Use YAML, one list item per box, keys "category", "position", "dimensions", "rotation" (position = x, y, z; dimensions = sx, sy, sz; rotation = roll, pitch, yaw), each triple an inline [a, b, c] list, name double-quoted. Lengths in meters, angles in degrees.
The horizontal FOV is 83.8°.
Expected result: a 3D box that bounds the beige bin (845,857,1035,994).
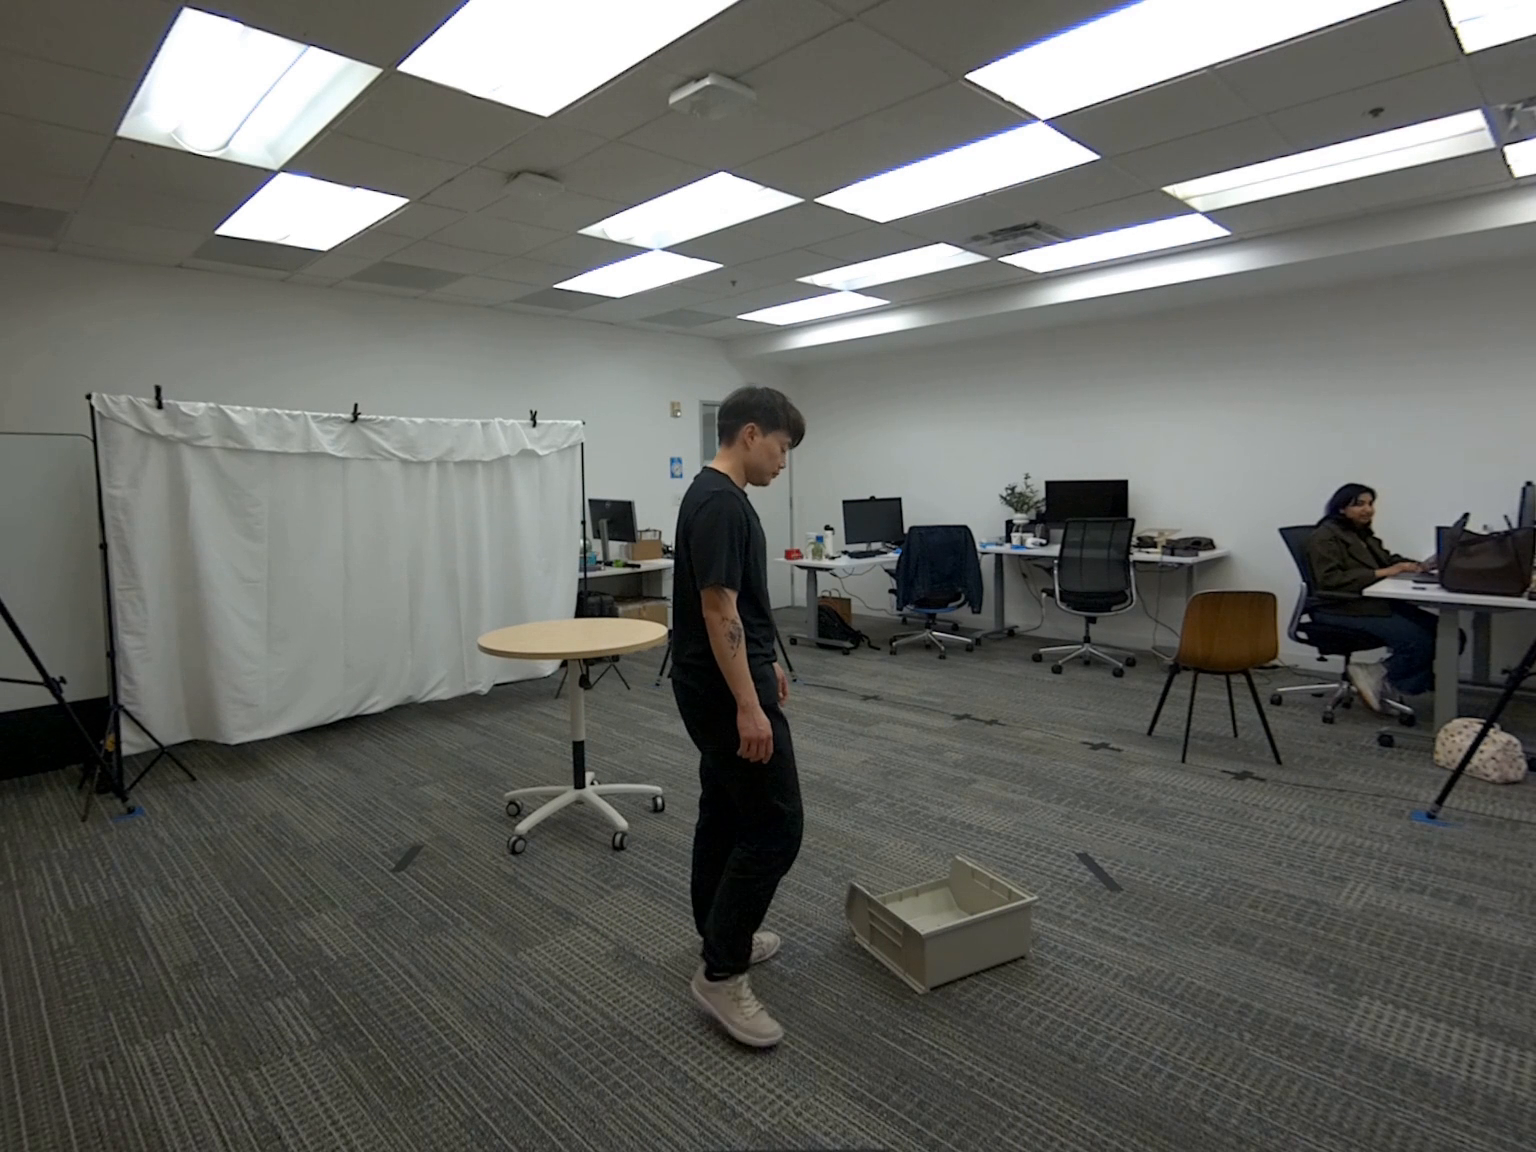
- category: "beige bin"
  position: [0.514, 1.013, 2.541]
  dimensions: [0.413, 0.188, 0.387]
  rotation: [-4, 7, -27]
